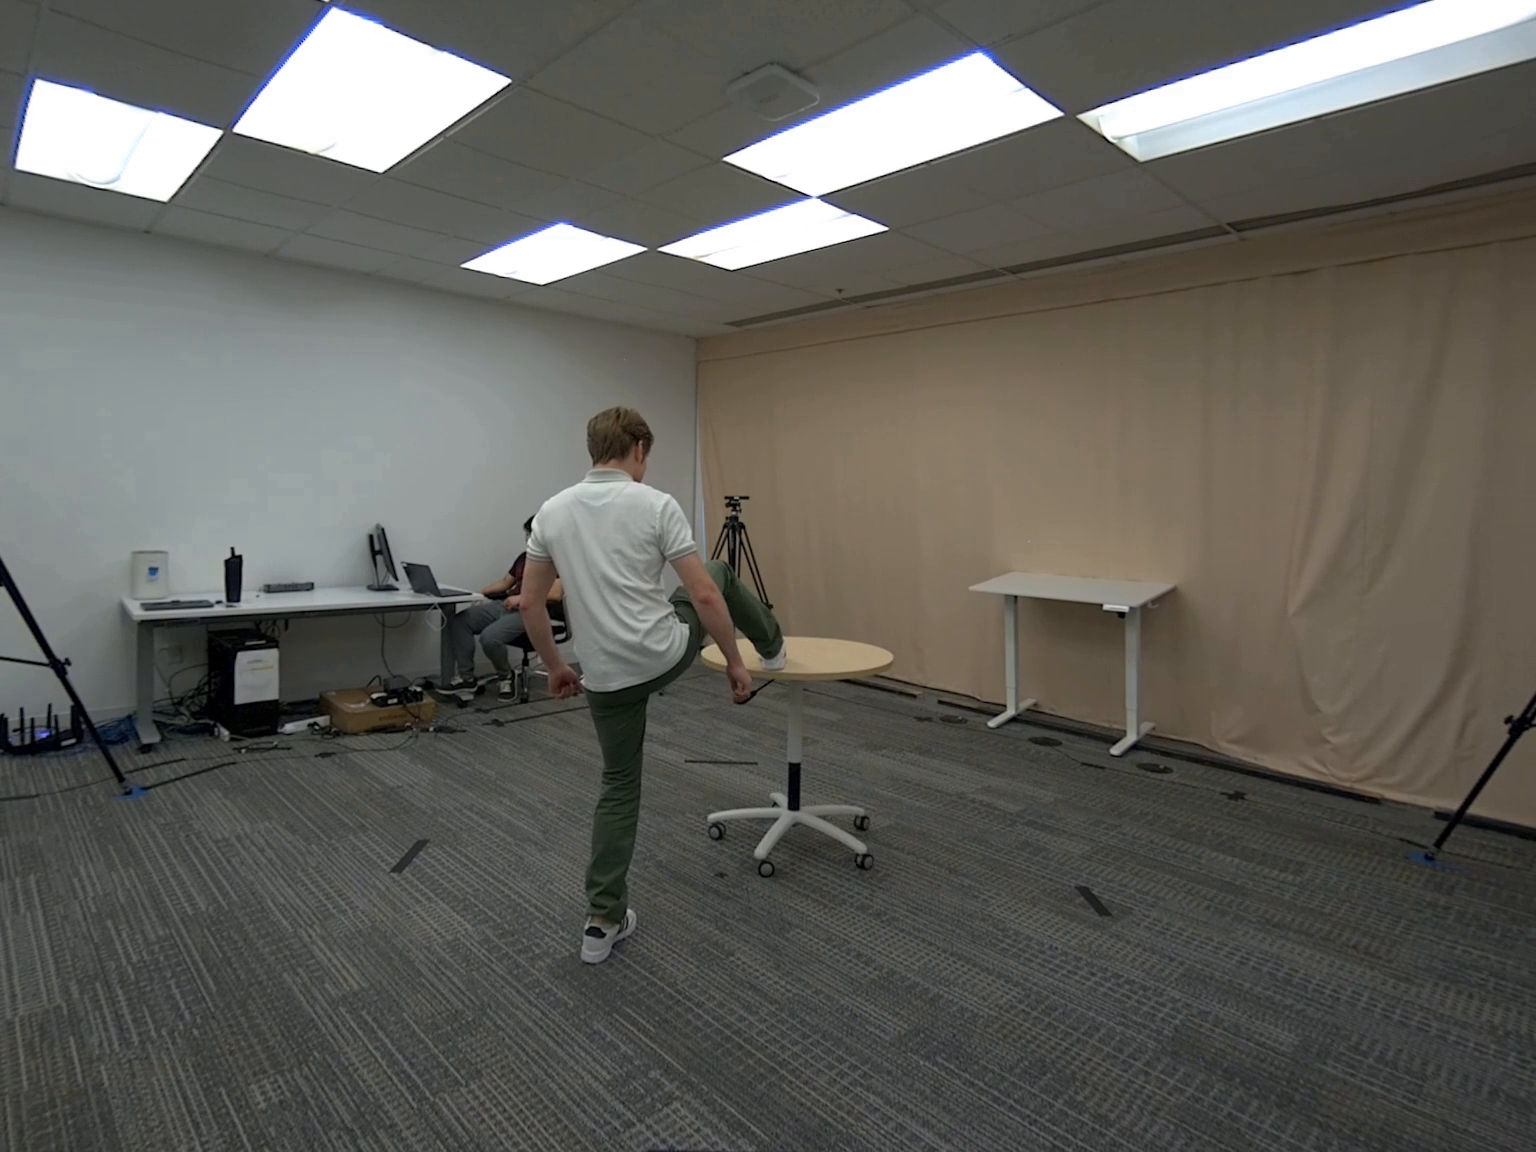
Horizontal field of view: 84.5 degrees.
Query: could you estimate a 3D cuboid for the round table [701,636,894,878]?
[{"bbox_3d":[0.107,0.700,3.389,0.763,0.792,0.766,1,4,-1],"label":"round table"}]
